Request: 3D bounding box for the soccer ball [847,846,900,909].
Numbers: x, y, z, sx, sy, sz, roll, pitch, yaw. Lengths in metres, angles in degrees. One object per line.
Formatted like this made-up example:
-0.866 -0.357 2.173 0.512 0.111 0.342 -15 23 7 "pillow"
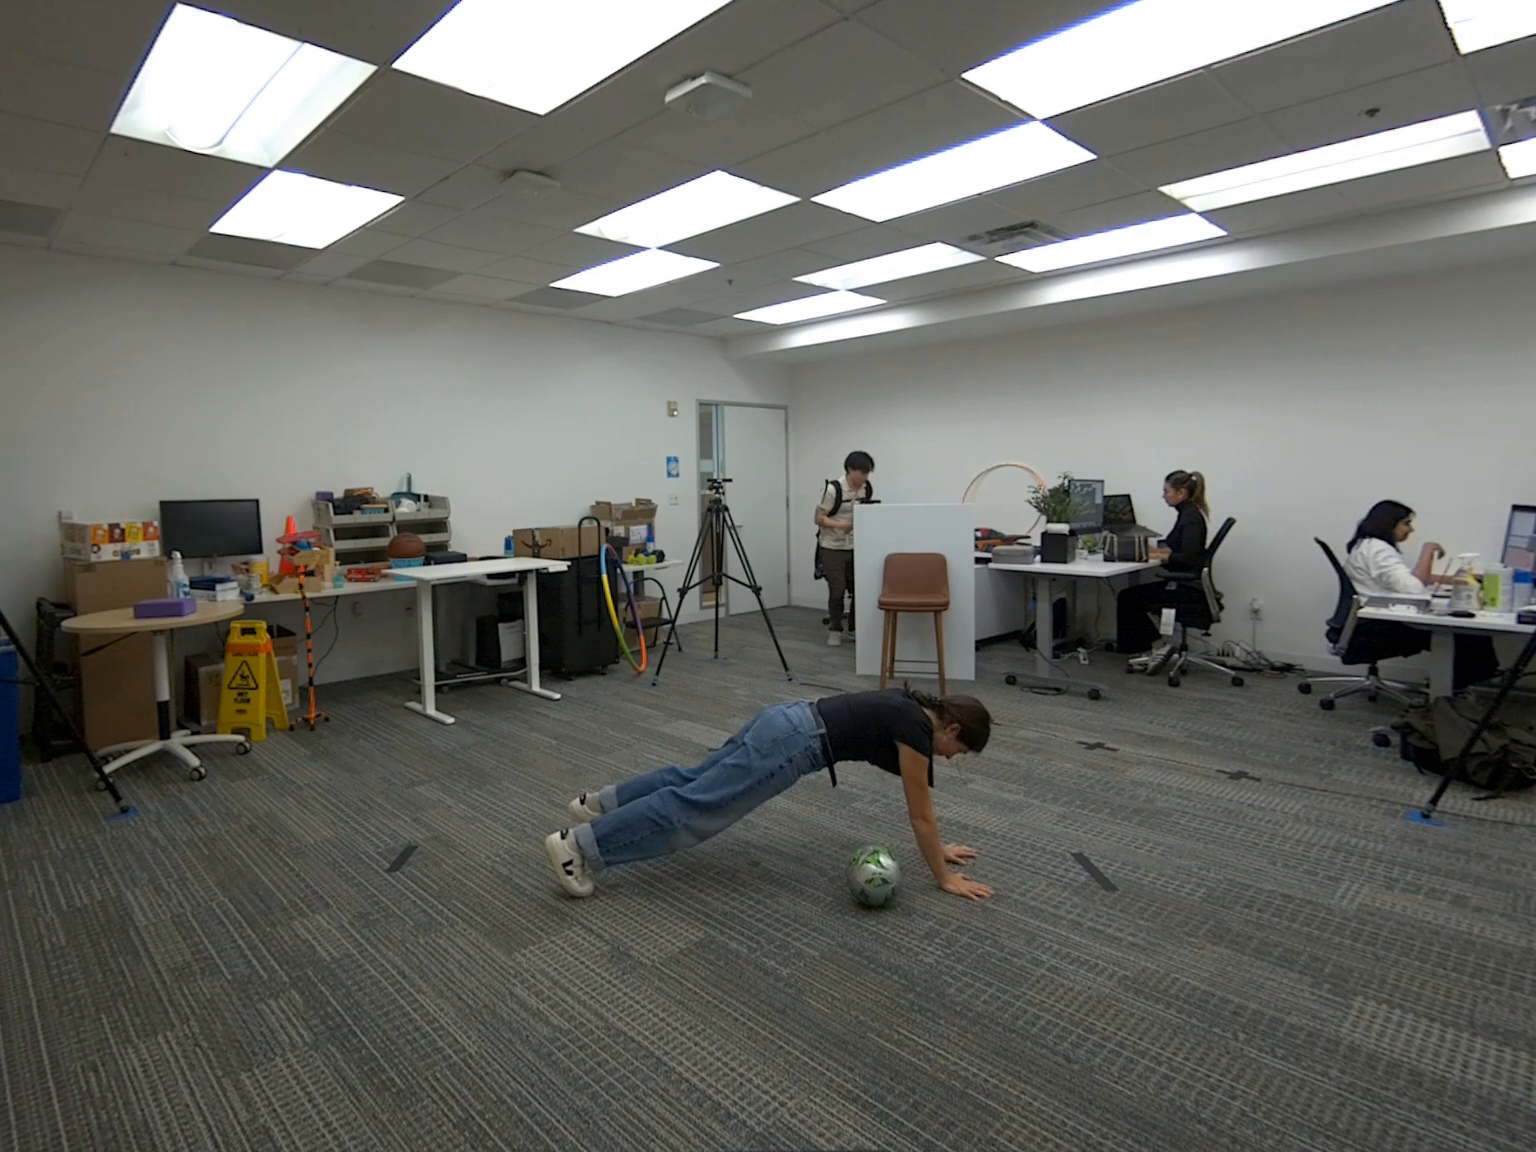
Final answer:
0.345 0.978 2.790 0.187 0.187 0.188 -1 5 -2 "soccer ball"
